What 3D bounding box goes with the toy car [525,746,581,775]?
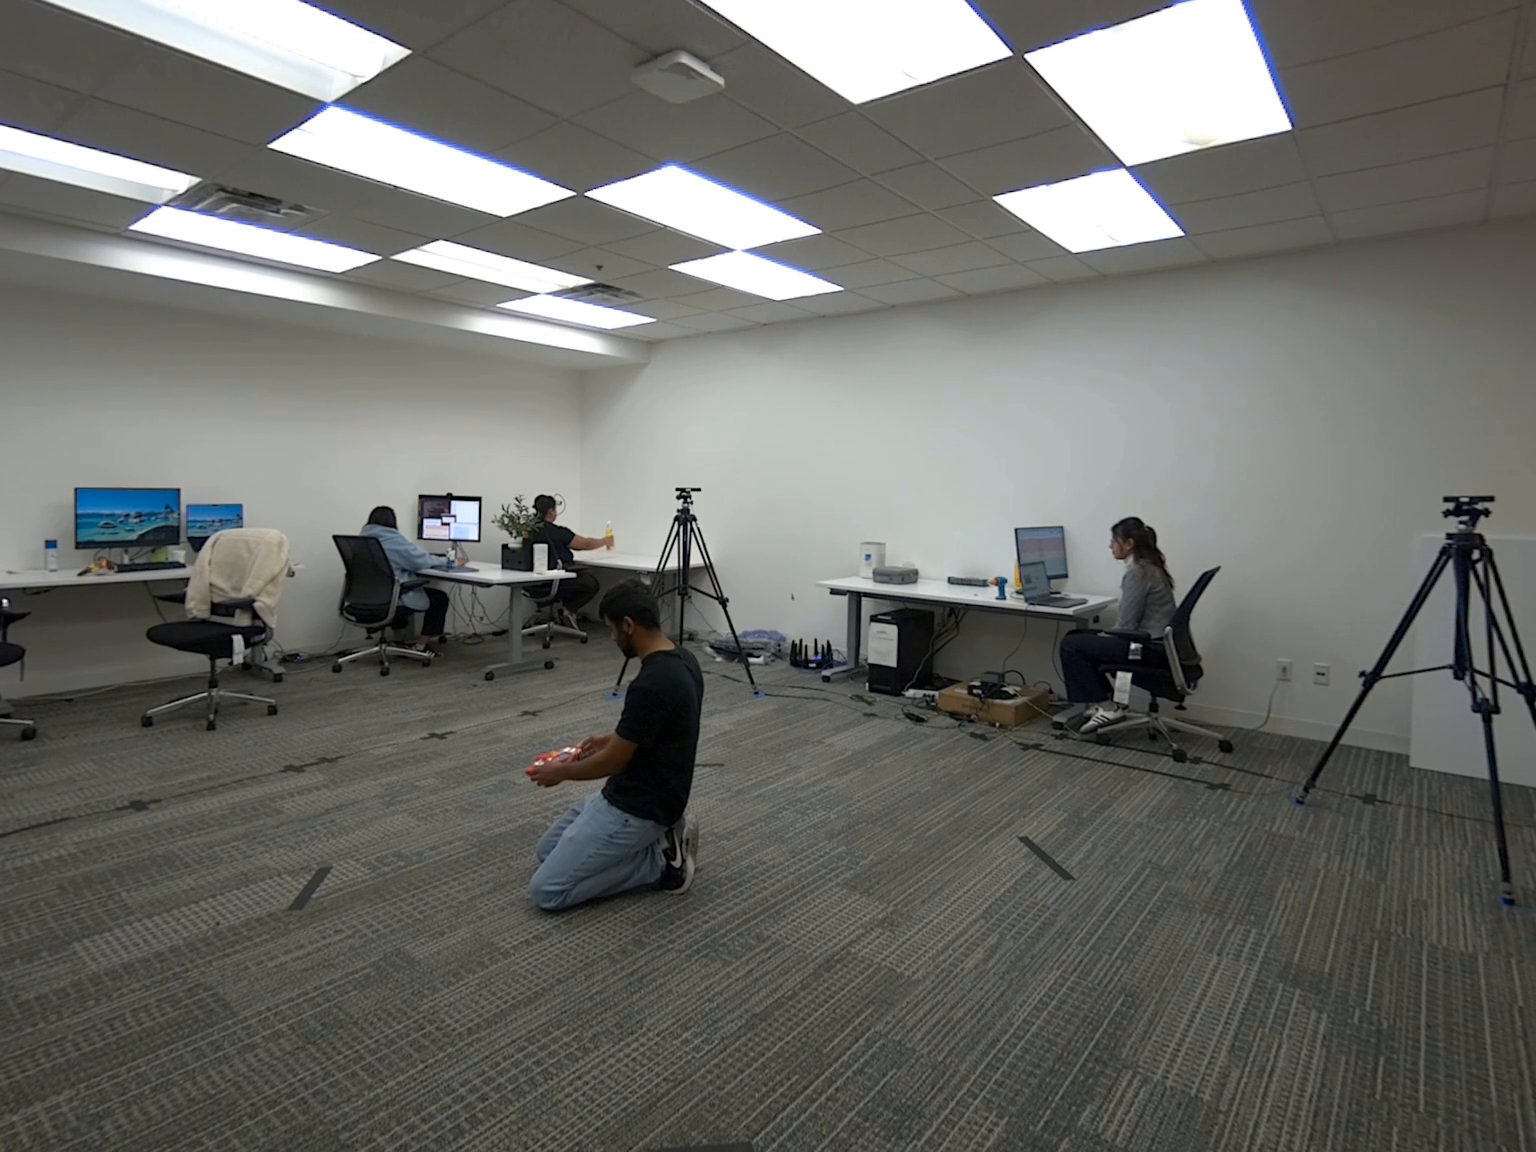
[{"bbox_3d":[-0.816,0.703,3.205,0.134,0.083,0.247,-5,0,32],"label":"toy car"}]
